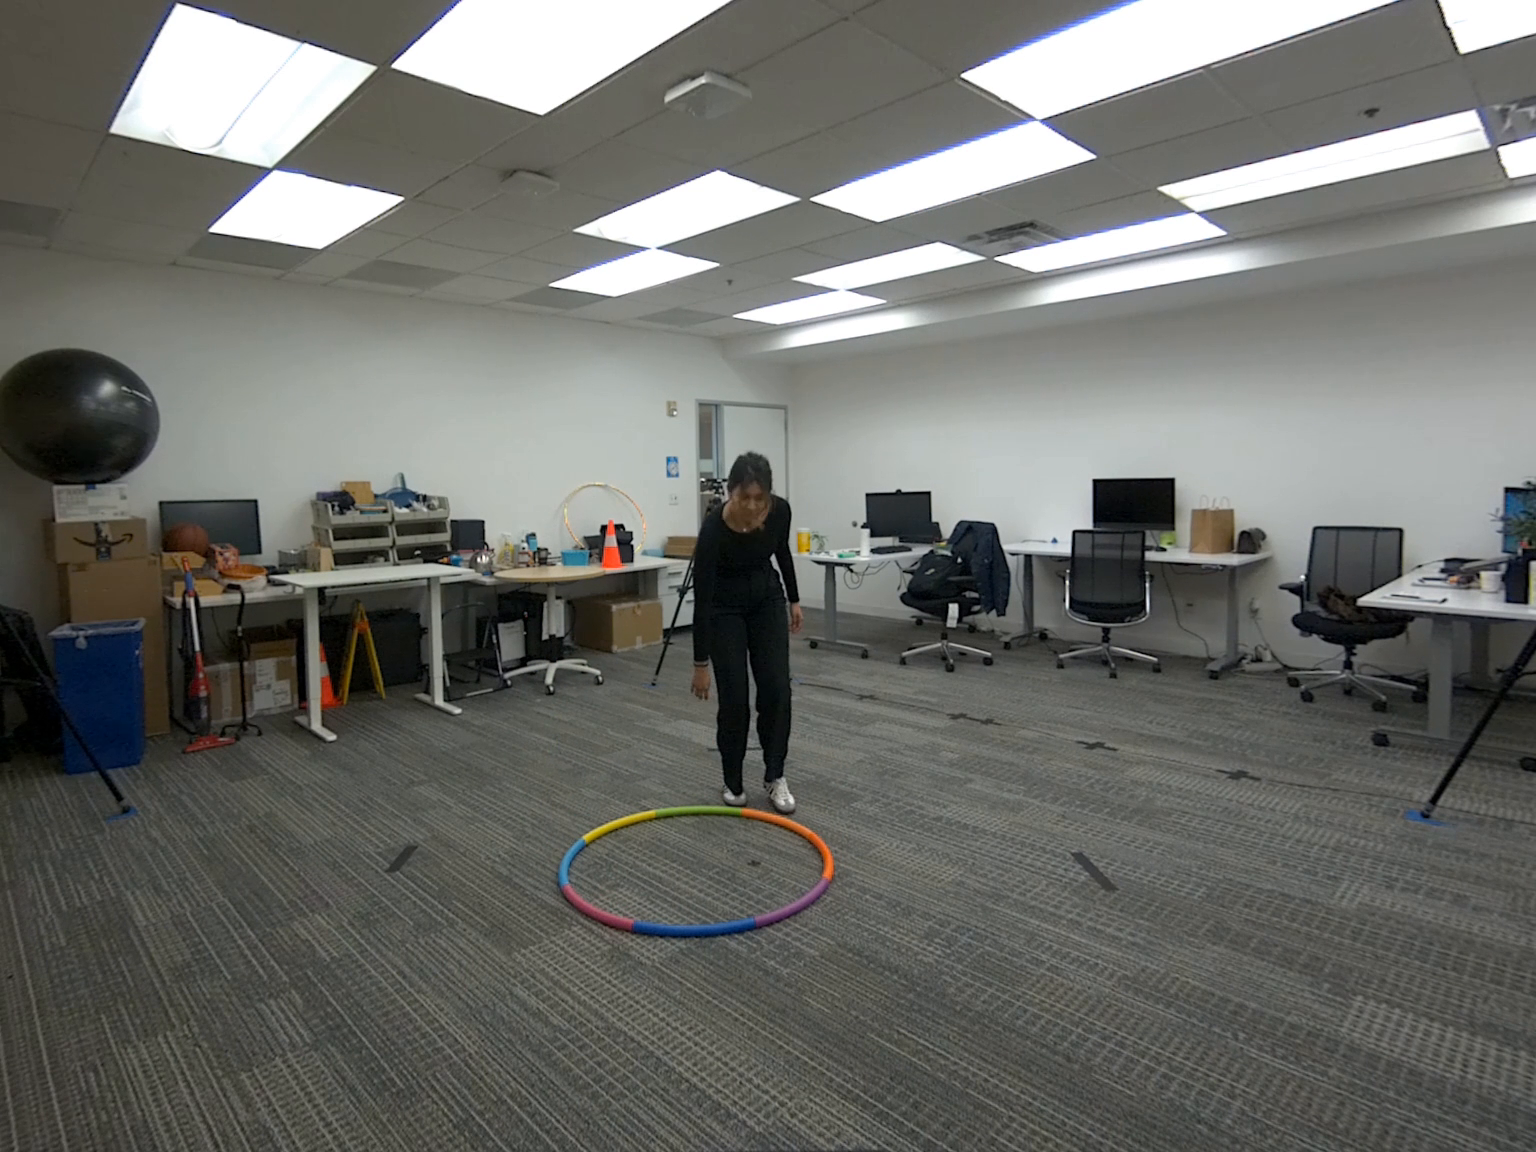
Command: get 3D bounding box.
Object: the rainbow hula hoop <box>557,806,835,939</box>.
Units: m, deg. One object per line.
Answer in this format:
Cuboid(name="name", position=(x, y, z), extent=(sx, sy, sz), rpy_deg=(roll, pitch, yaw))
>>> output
Cuboid(name="rainbow hula hoop", position=(-0.254, 1.017, 3.098), extent=(0.978, 0.035, 0.984), rpy_deg=(-1, 7, -2))
